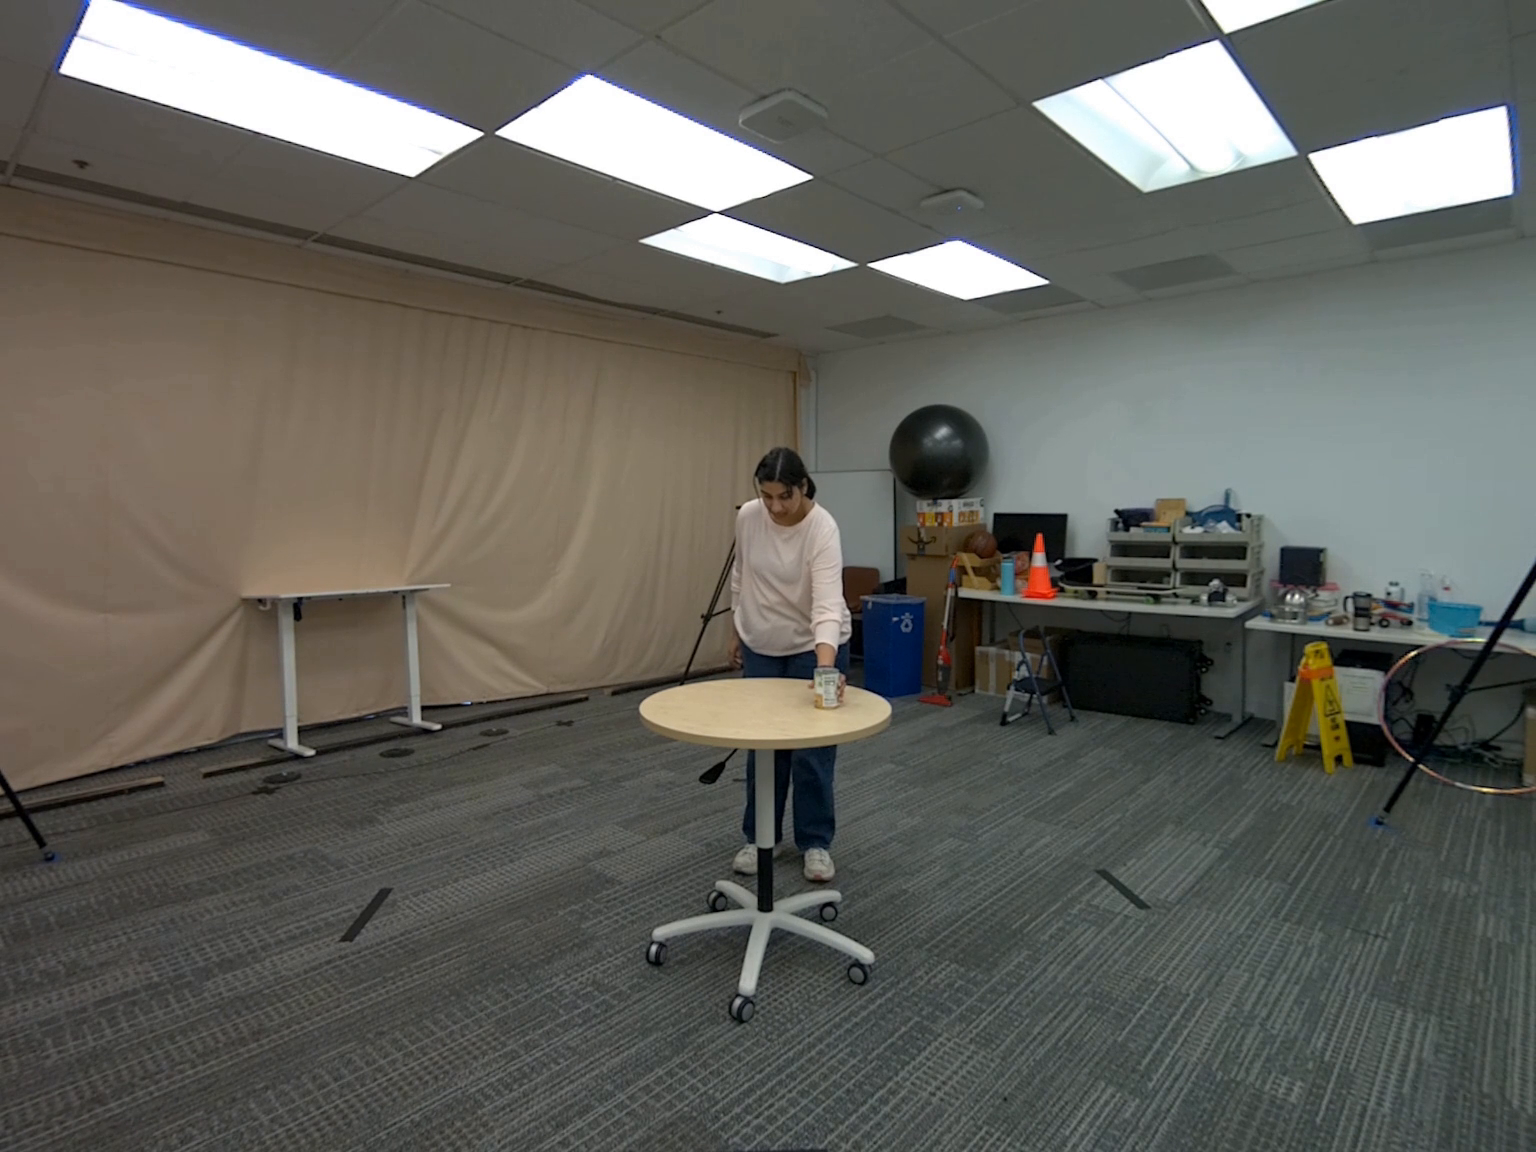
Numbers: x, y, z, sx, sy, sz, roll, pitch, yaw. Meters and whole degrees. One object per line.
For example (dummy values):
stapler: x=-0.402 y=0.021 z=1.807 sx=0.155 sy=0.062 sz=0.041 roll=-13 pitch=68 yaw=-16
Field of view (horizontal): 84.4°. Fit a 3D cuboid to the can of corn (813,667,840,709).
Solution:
can of corn: x=0.177 y=0.341 z=2.544 sx=0.074 sy=0.111 sz=0.074 roll=3 pitch=2 yaw=-2
